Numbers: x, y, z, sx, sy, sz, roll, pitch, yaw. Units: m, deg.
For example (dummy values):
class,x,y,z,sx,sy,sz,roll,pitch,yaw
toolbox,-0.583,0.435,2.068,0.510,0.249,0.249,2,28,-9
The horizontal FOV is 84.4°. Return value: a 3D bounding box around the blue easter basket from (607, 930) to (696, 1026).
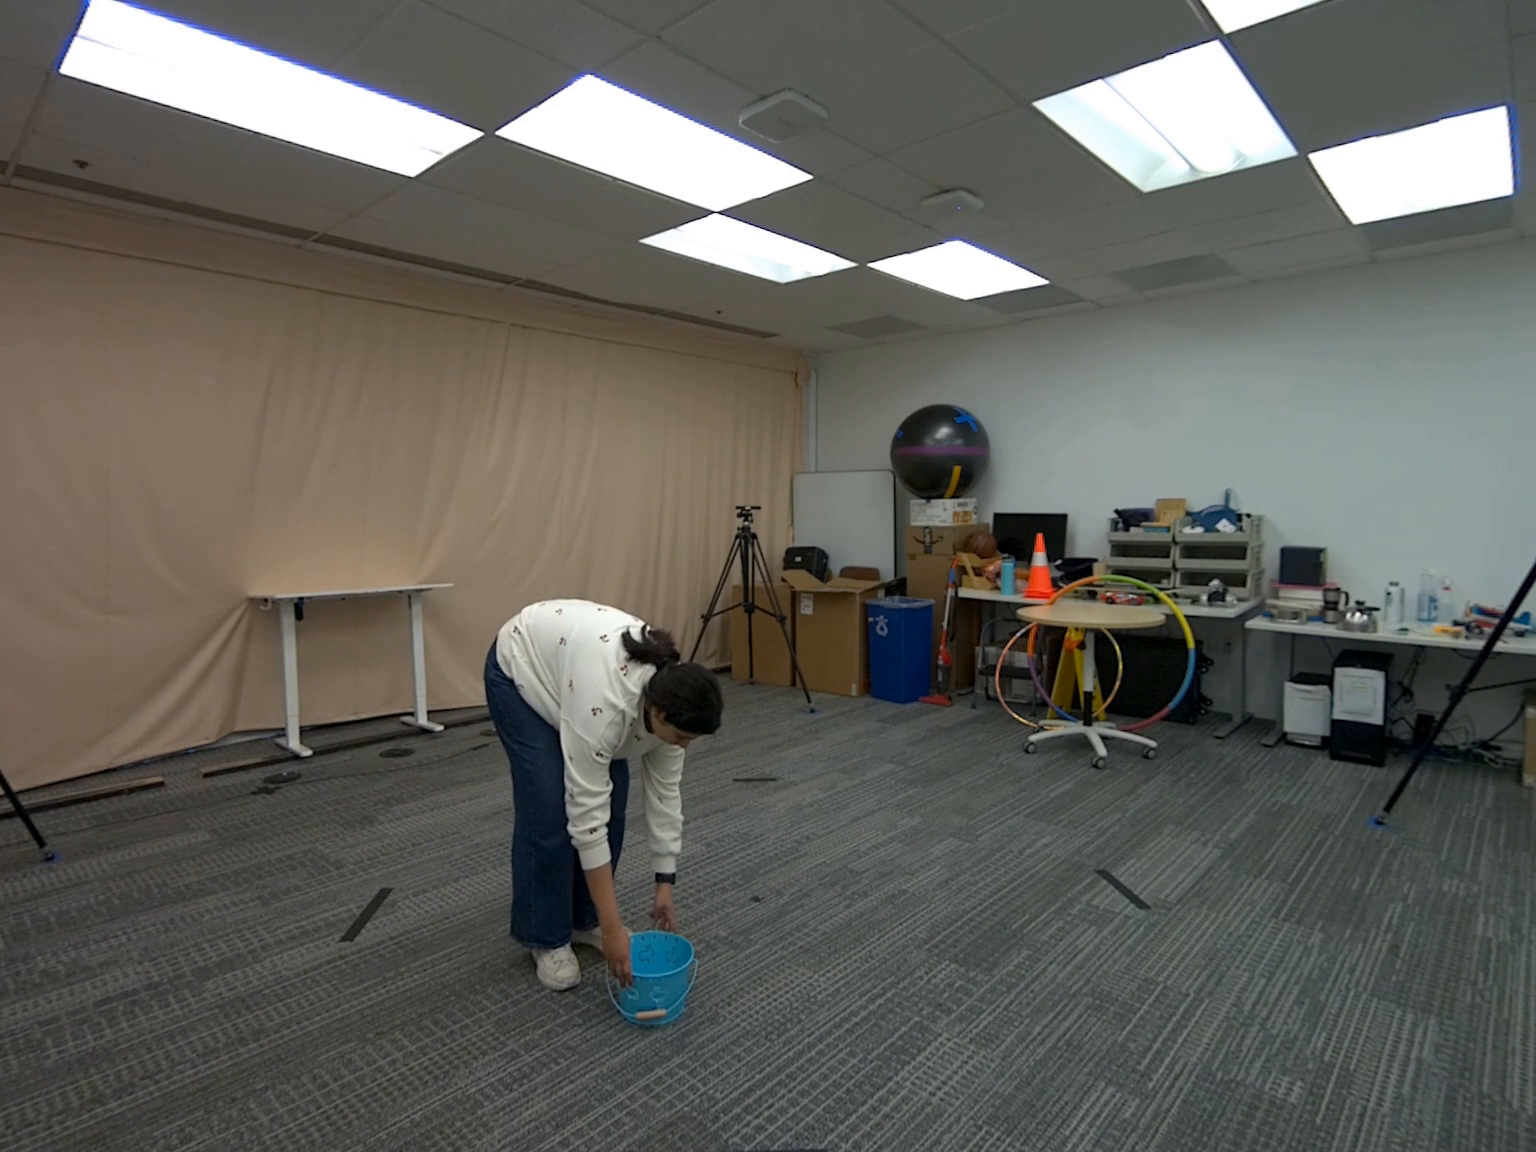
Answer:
class,x,y,z,sx,sy,sz,roll,pitch,yaw
blue easter basket,-0.324,1.115,2.335,0.243,0.155,0.244,2,5,-2
